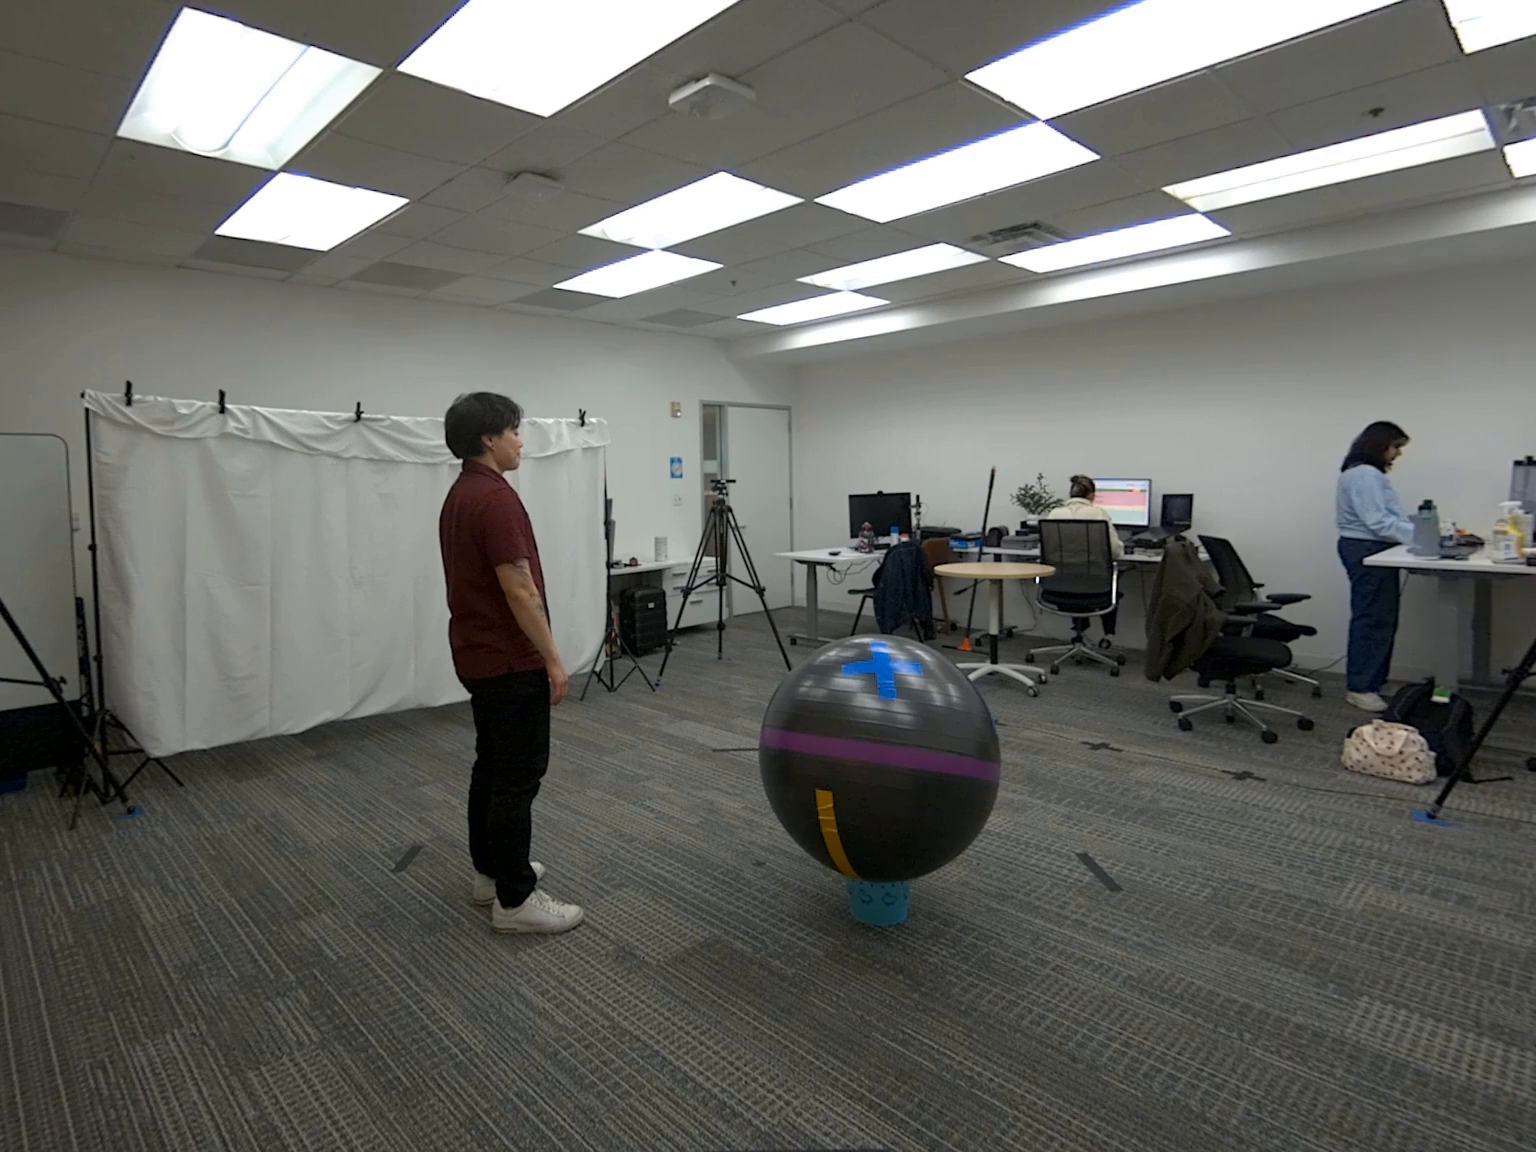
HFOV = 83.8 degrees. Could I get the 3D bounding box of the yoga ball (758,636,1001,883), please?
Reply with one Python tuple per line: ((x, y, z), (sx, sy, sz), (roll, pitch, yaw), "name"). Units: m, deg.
((0.356, 0.571, 2.730), (0.757, 0.755, 0.762), (-1, 5, -2), "yoga ball")
